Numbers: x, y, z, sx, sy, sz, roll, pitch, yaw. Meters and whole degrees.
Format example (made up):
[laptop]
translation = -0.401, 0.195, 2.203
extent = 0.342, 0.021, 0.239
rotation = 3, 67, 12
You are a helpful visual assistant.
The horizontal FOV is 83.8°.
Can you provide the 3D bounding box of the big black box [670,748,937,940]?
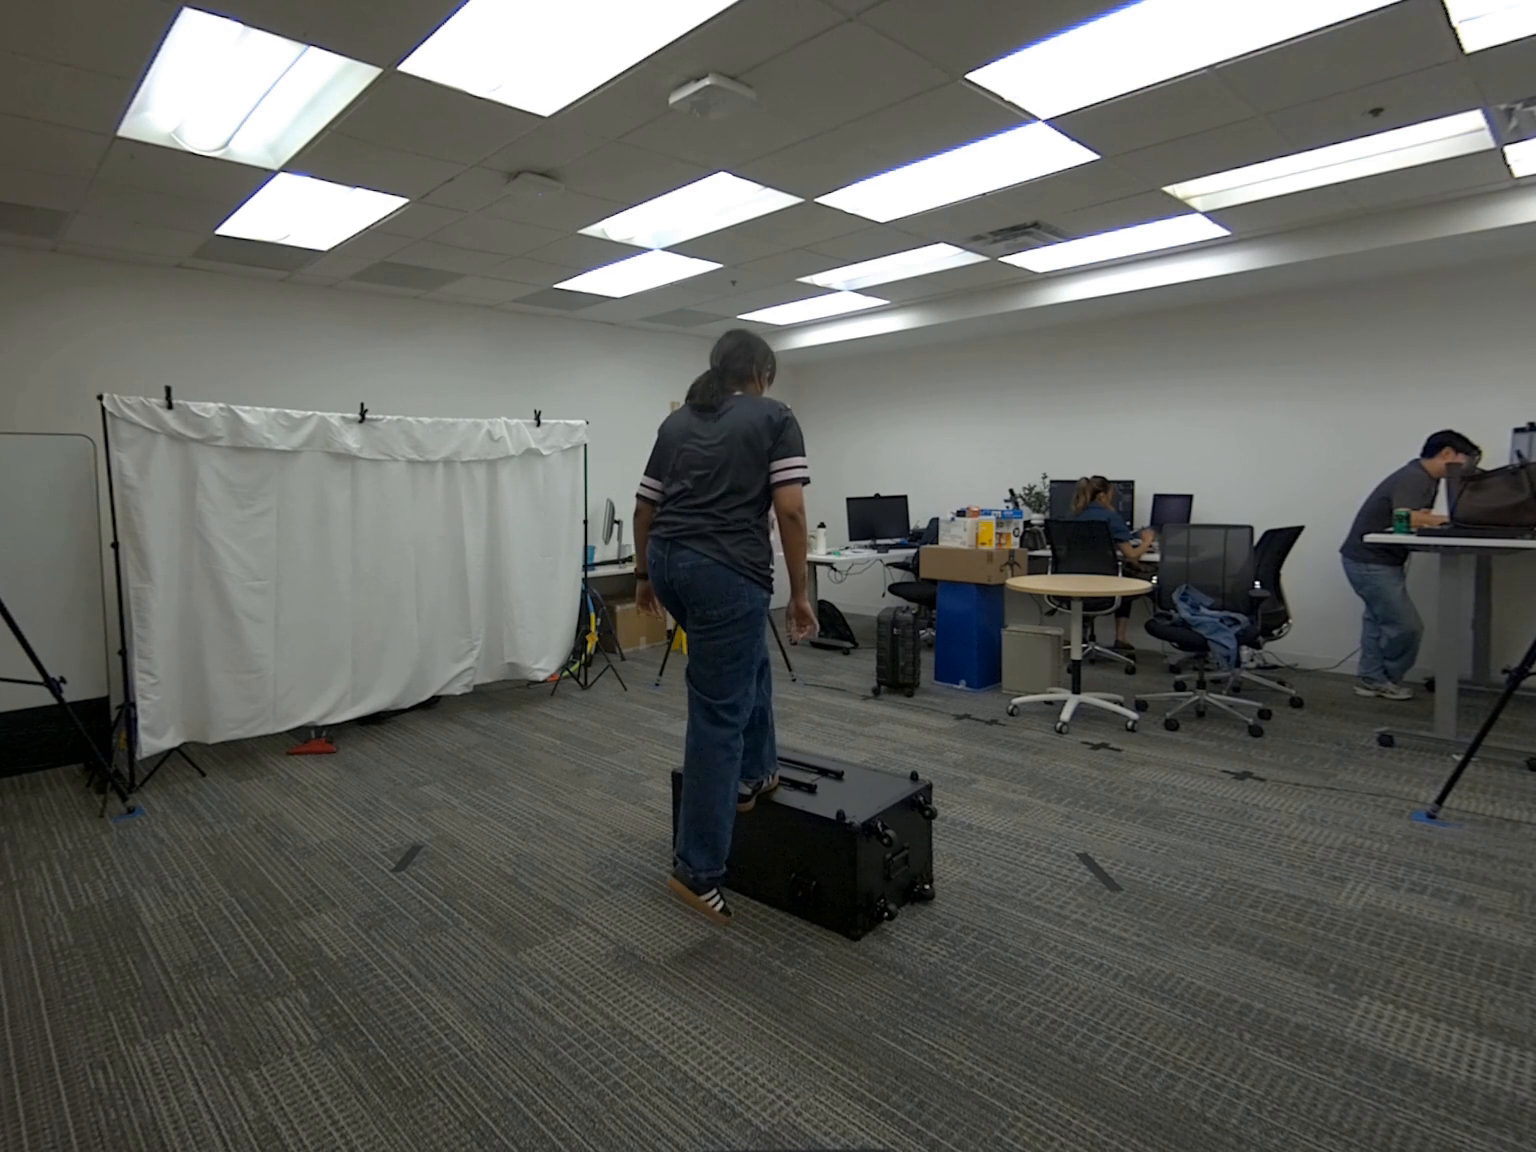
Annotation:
[big black box]
translation = 0.143, 0.873, 2.978
extent = 0.895, 0.384, 0.509
rotation = 5, 6, 40
